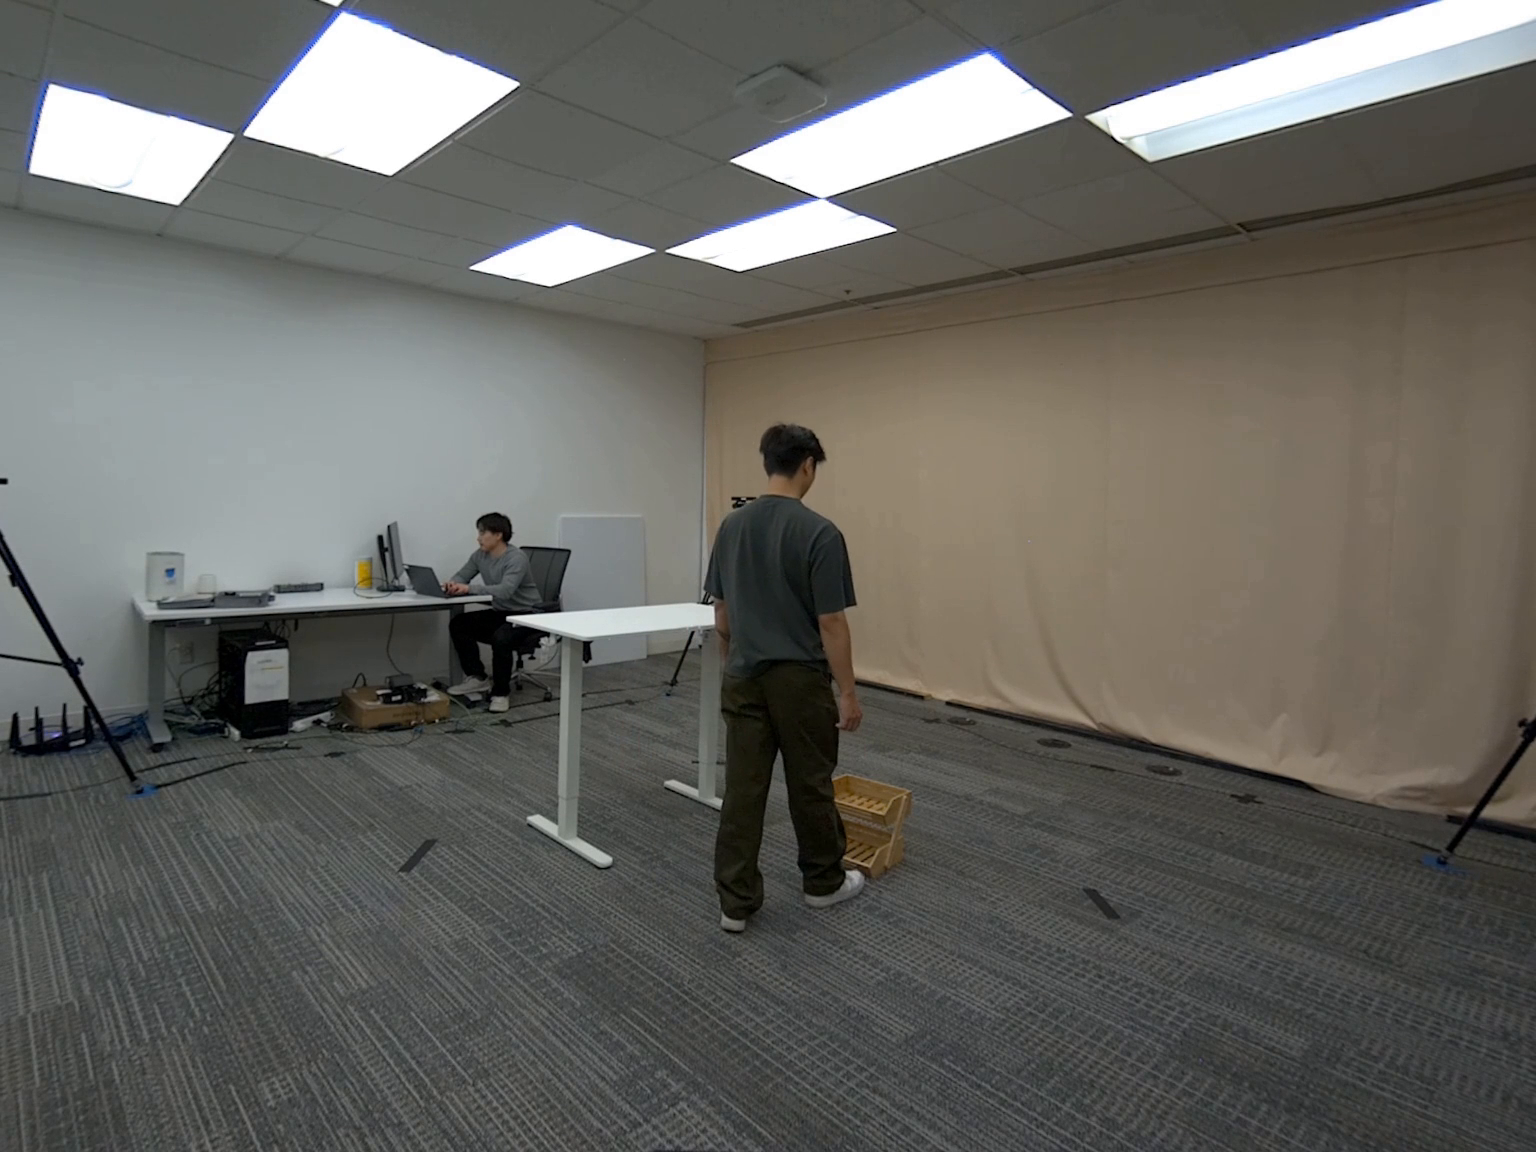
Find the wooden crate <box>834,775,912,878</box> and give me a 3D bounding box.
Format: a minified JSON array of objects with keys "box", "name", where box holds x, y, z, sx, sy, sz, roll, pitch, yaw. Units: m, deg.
[{"box":[0.343,0.965,3.300,0.332,0.273,0.295,5,4,39],"name":"wooden crate"}]
